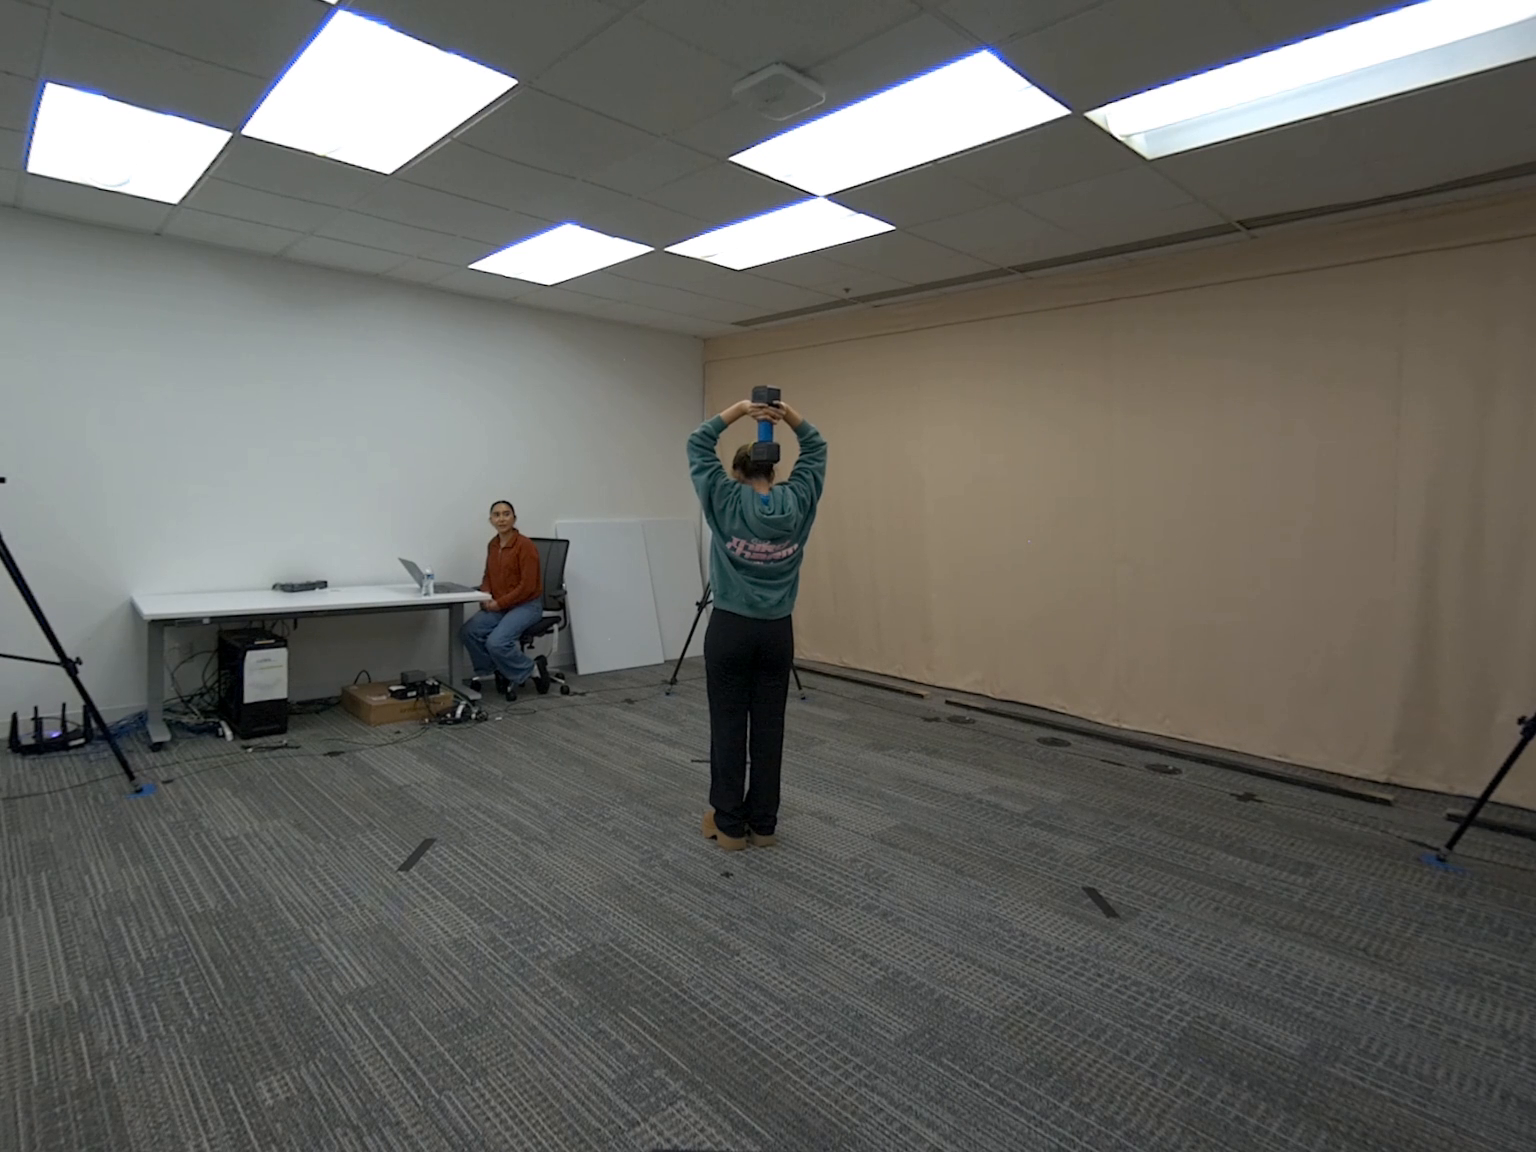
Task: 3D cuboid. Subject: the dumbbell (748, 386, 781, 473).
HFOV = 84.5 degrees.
[{"bbox_3d":[-0.025,-0.578,3.218,0.108,0.294,0.124,2,-1,-12],"label":"dumbbell"}]
